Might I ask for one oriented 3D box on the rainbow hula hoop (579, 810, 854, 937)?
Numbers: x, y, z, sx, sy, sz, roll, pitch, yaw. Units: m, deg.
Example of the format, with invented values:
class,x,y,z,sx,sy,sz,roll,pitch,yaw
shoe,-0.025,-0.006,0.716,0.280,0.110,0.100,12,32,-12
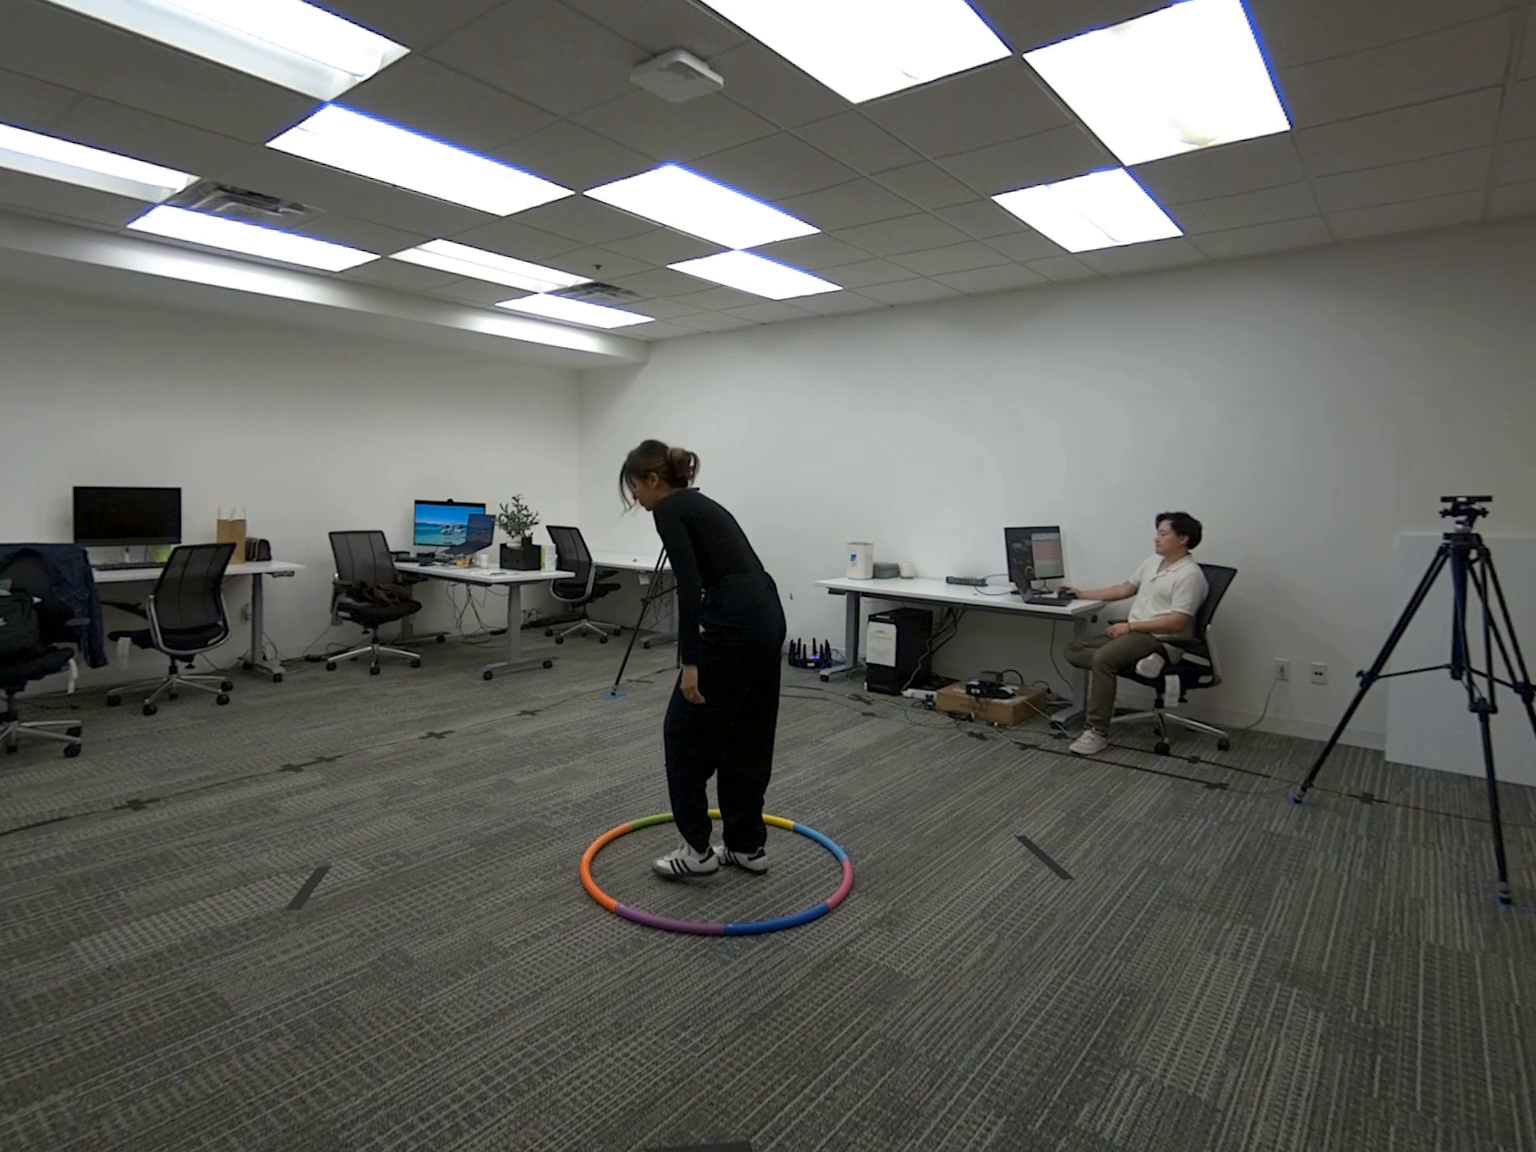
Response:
class,x,y,z,sx,sy,sz,roll,pitch,yaw
rainbow hula hoop,-0.196,1.036,3.115,0.978,0.035,0.984,1,5,-2
